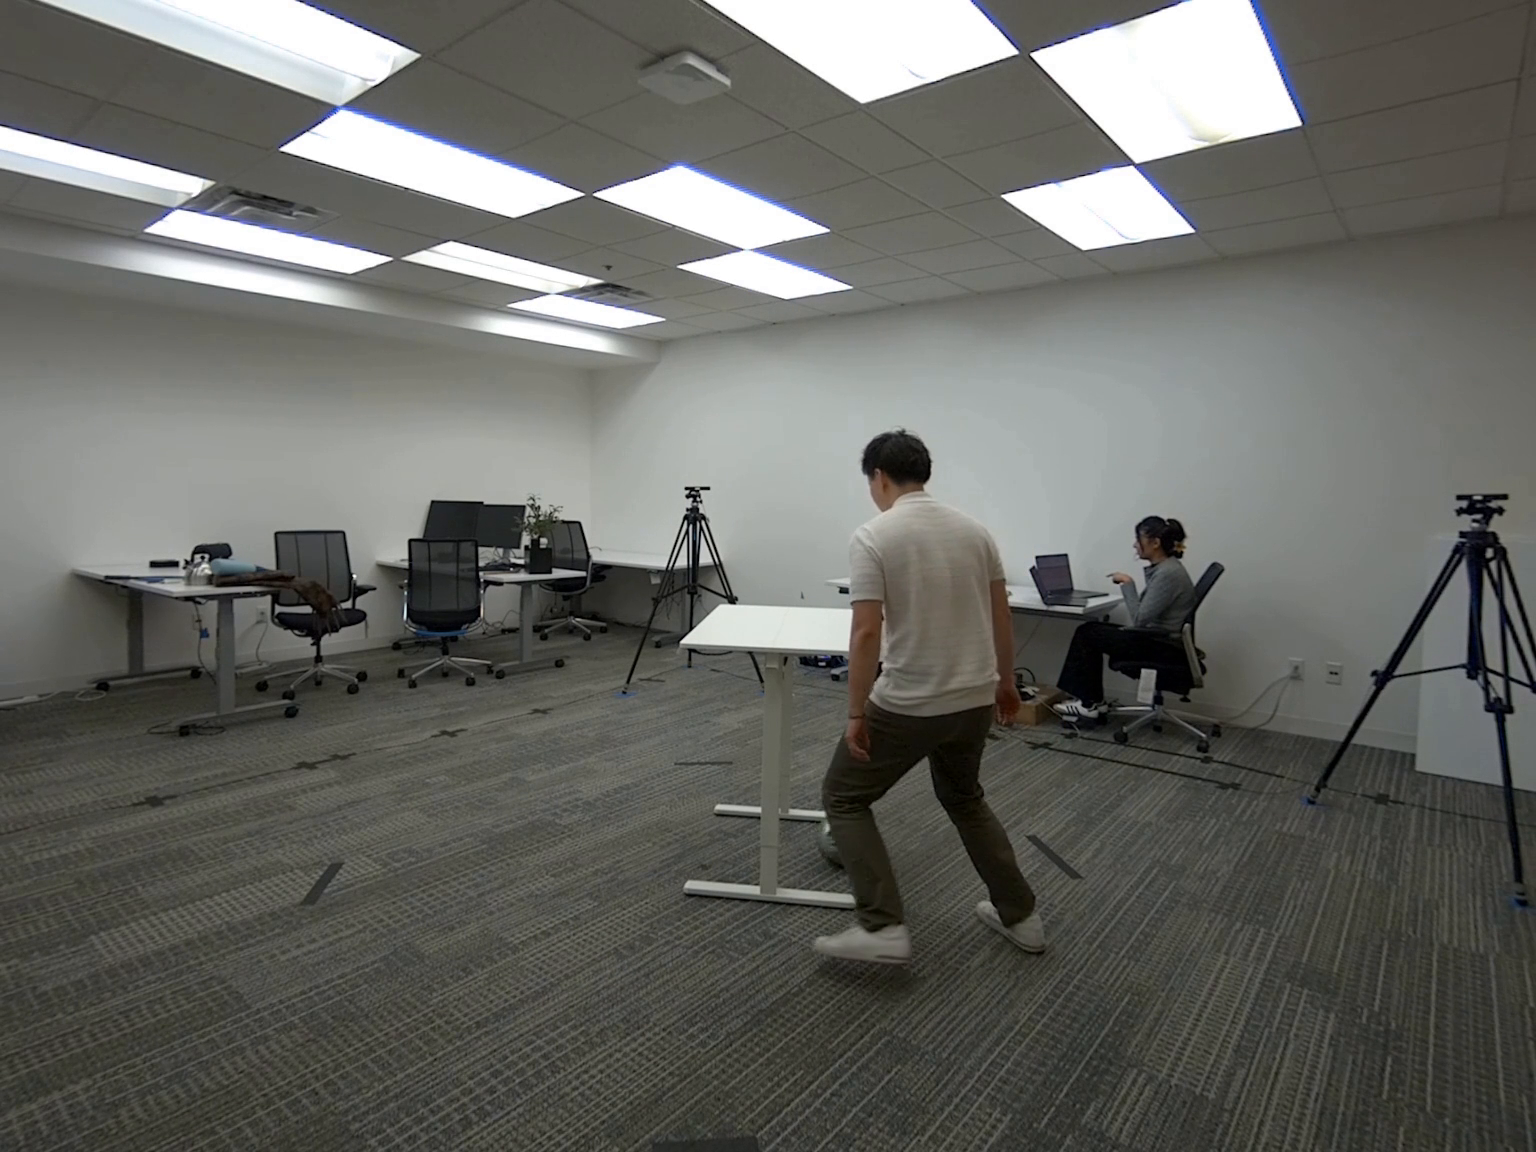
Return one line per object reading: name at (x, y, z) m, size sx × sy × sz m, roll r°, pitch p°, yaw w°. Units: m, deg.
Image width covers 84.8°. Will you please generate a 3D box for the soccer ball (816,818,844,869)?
soccer ball at (0.273, 0.973, 3.156) m, size 0.187 × 0.187 × 0.188 m, roll 1°, pitch 4°, yaw -2°
